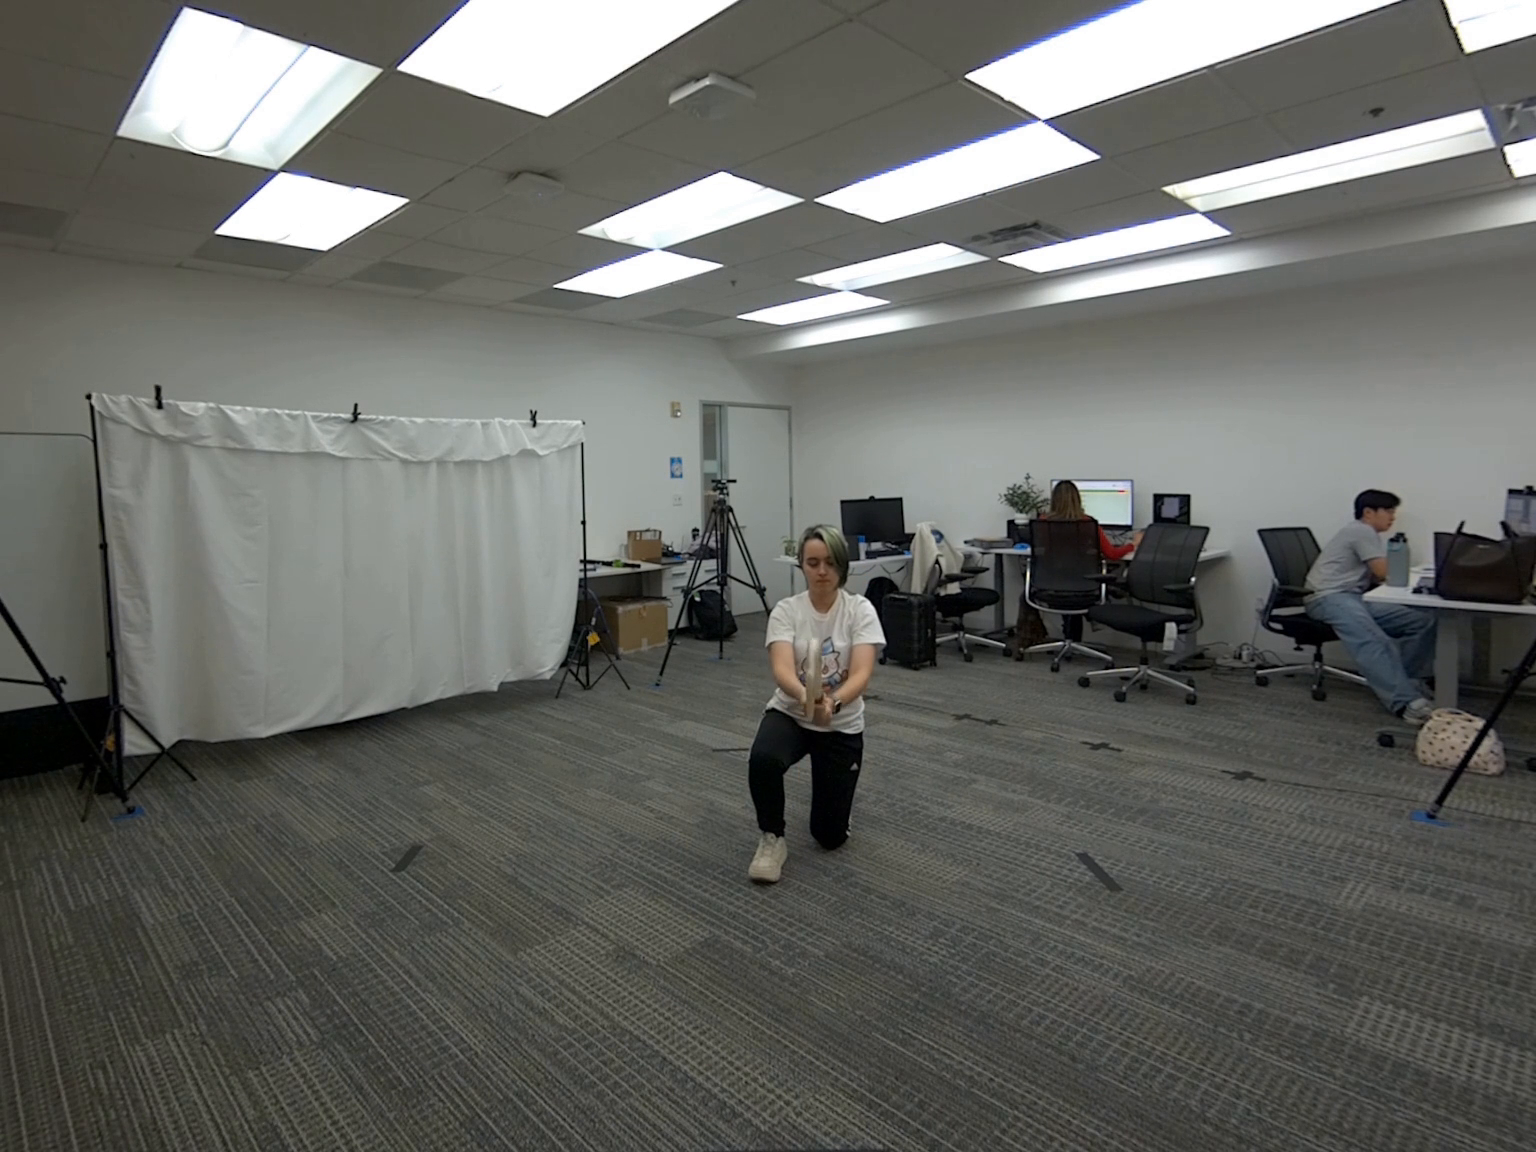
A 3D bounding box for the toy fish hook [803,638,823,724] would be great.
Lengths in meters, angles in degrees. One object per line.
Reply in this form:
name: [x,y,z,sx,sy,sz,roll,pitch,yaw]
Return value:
toy fish hook: [0.144,0.379,2.582,0.049,0.229,0.490,2,-36,10]
